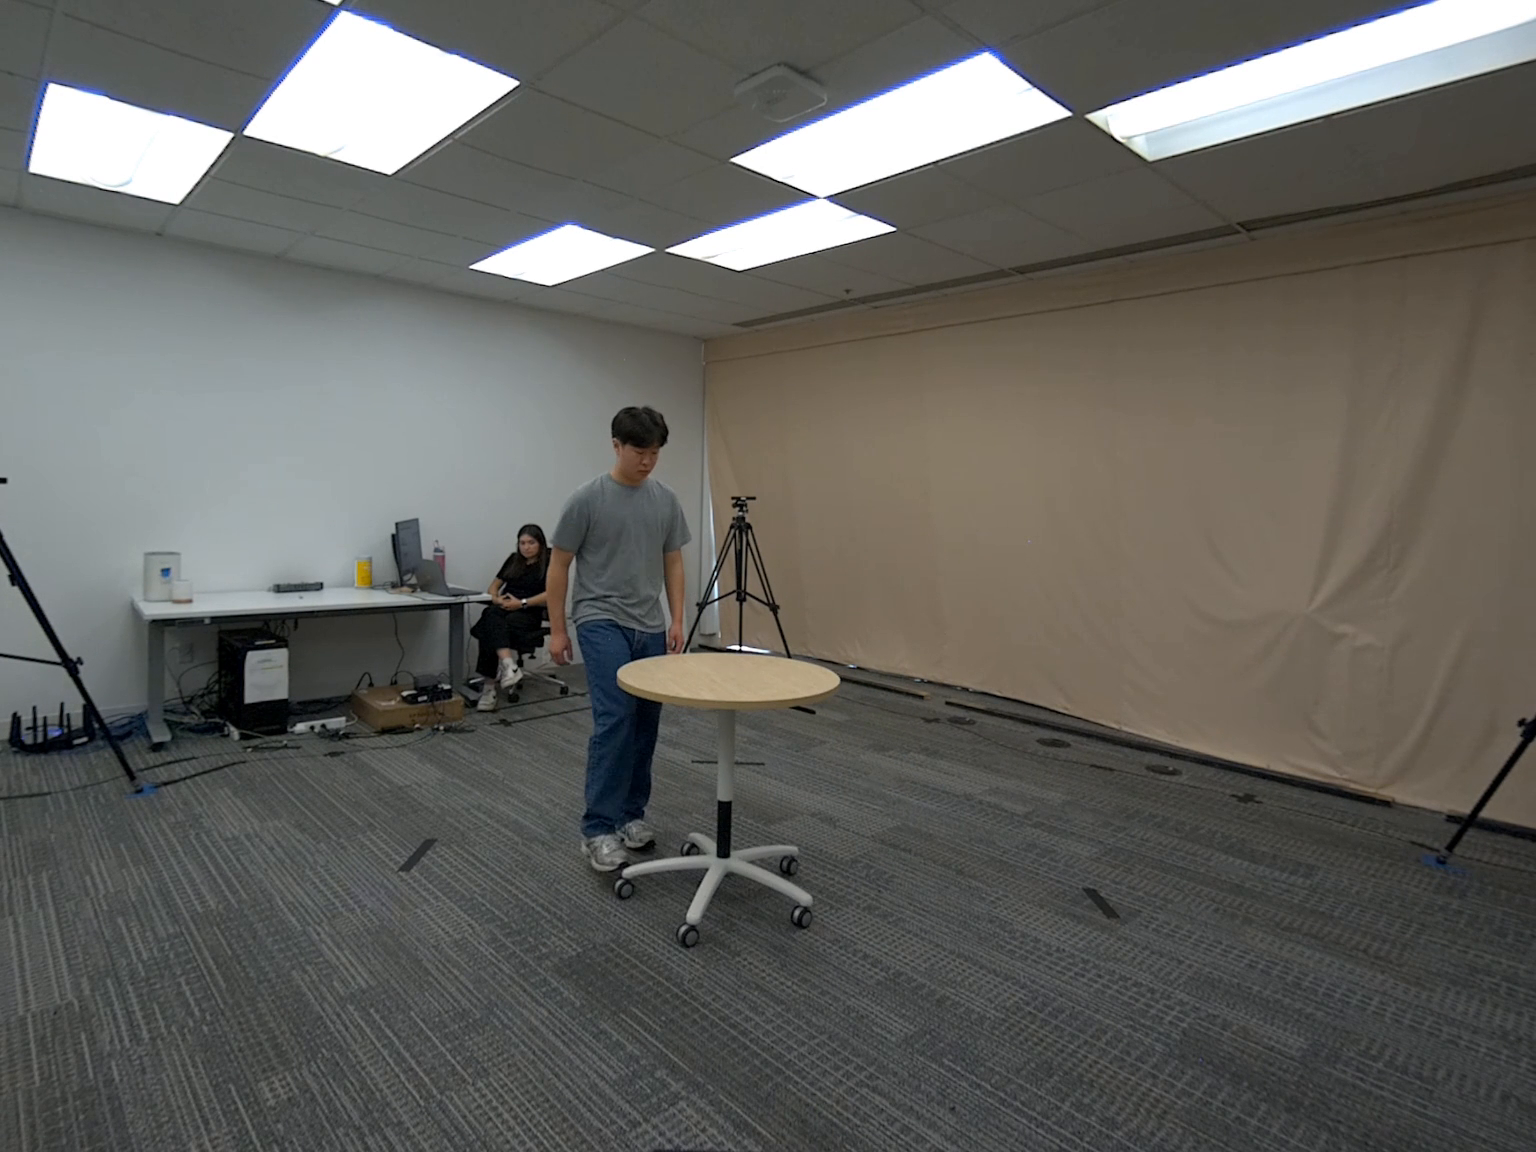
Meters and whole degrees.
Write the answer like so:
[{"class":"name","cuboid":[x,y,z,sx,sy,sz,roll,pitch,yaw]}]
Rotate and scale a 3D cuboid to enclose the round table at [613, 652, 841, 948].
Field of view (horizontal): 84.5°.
[{"class":"round table","cuboid":[-0.155,0.734,2.913,0.763,0.792,0.767,2,4,-1]}]
